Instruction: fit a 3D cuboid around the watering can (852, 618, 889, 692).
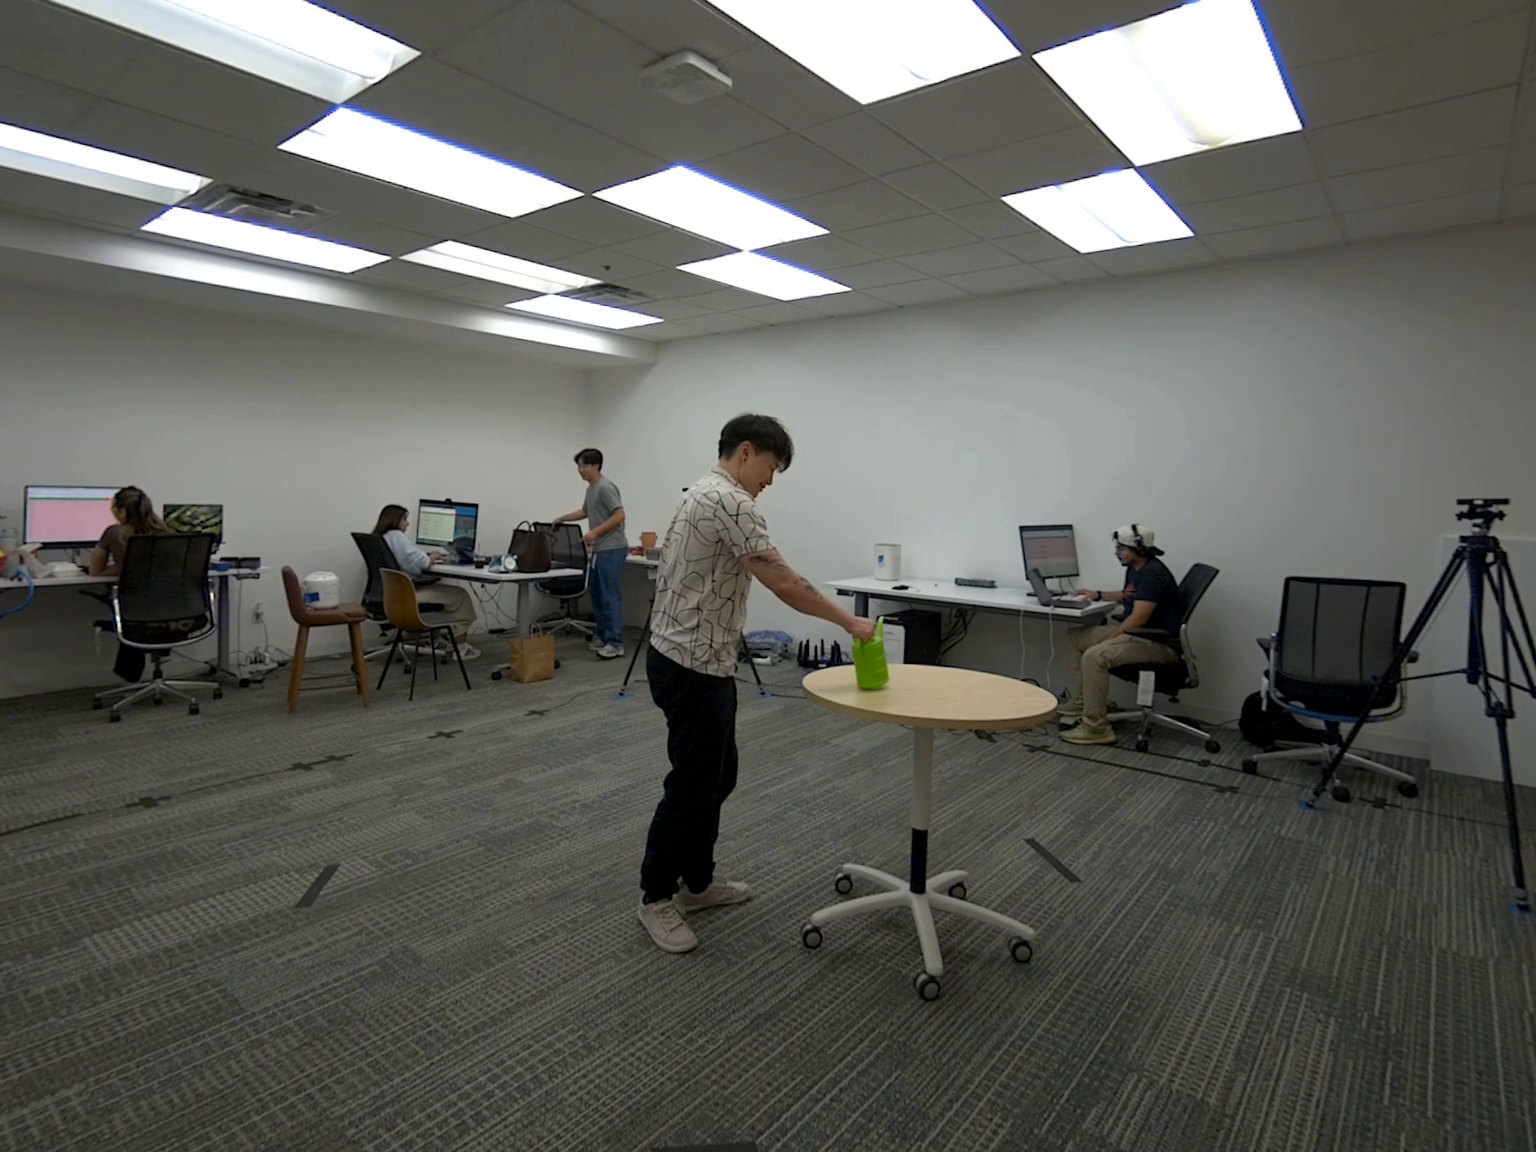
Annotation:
[{"bbox_3d":[0.328,0.243,2.649,0.272,0.176,0.100,-16,5,-42],"label":"watering can"}]
